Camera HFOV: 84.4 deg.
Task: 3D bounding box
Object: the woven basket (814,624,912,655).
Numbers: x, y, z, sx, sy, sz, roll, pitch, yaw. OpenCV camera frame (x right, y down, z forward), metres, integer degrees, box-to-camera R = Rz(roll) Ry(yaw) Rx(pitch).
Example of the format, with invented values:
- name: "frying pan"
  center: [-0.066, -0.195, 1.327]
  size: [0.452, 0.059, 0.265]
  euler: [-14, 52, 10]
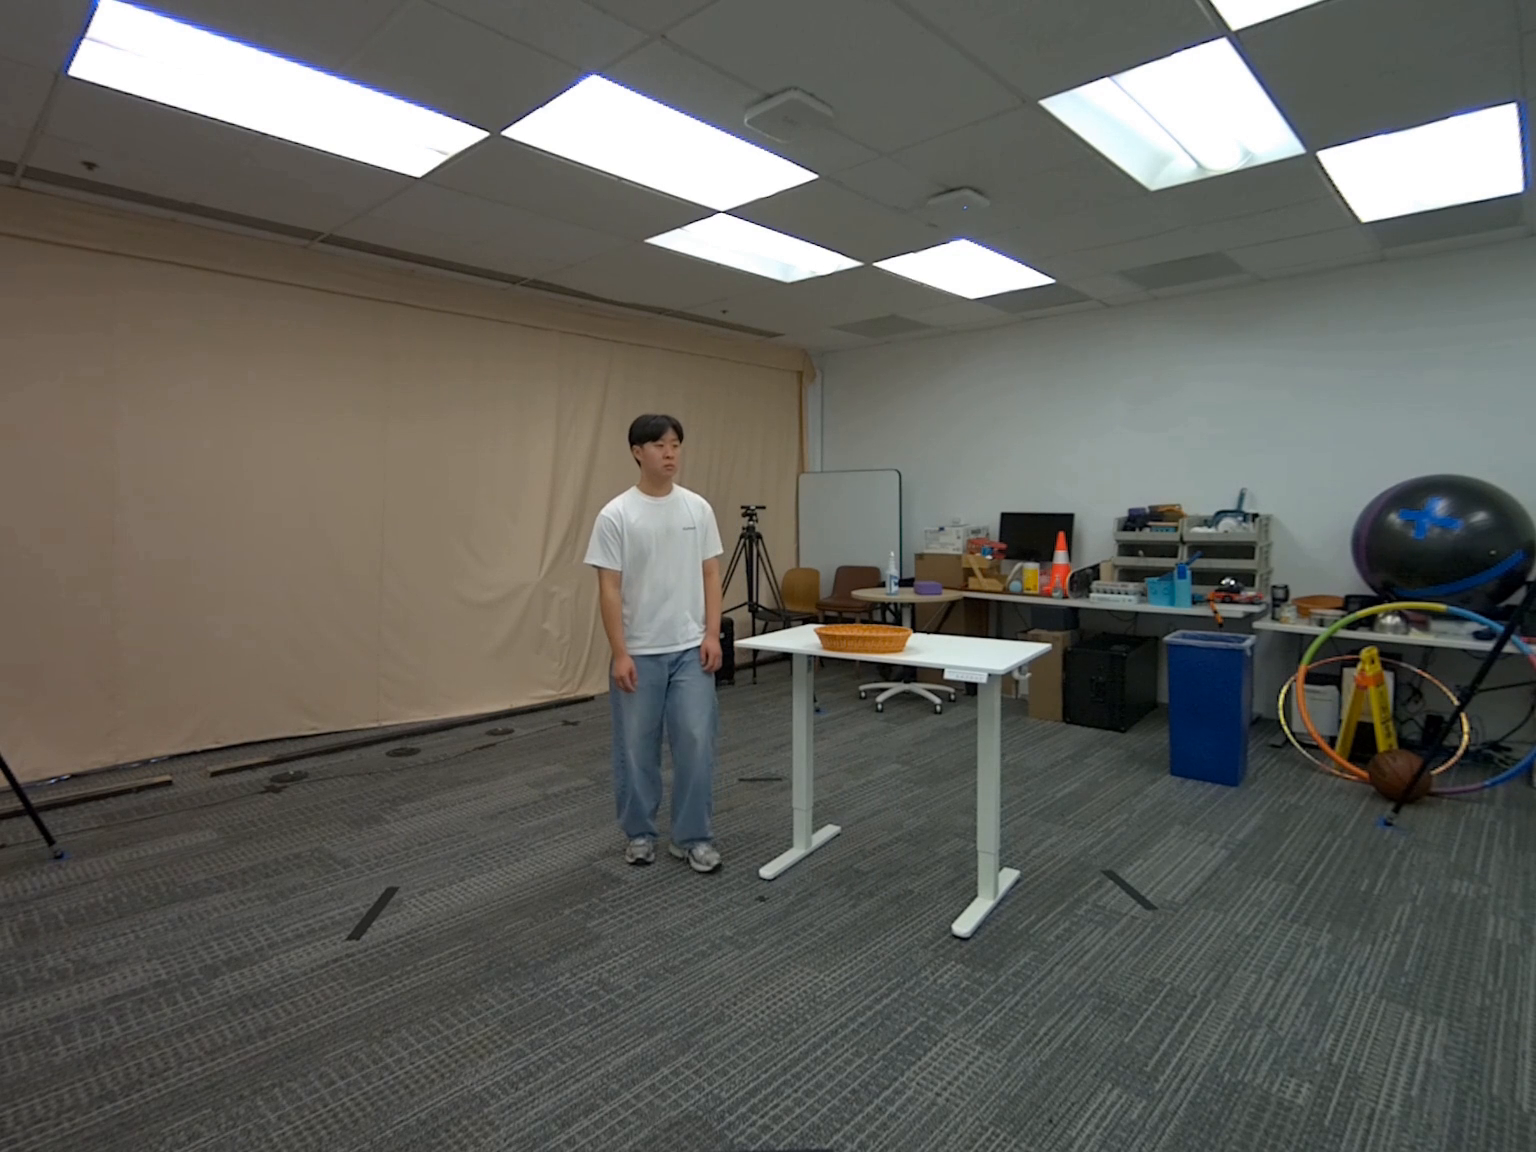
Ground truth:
- name: "woven basket"
  center: [0.353, 0.232, 2.980]
  size: [0.356, 0.073, 0.248]
  euler: [1, 4, 16]
